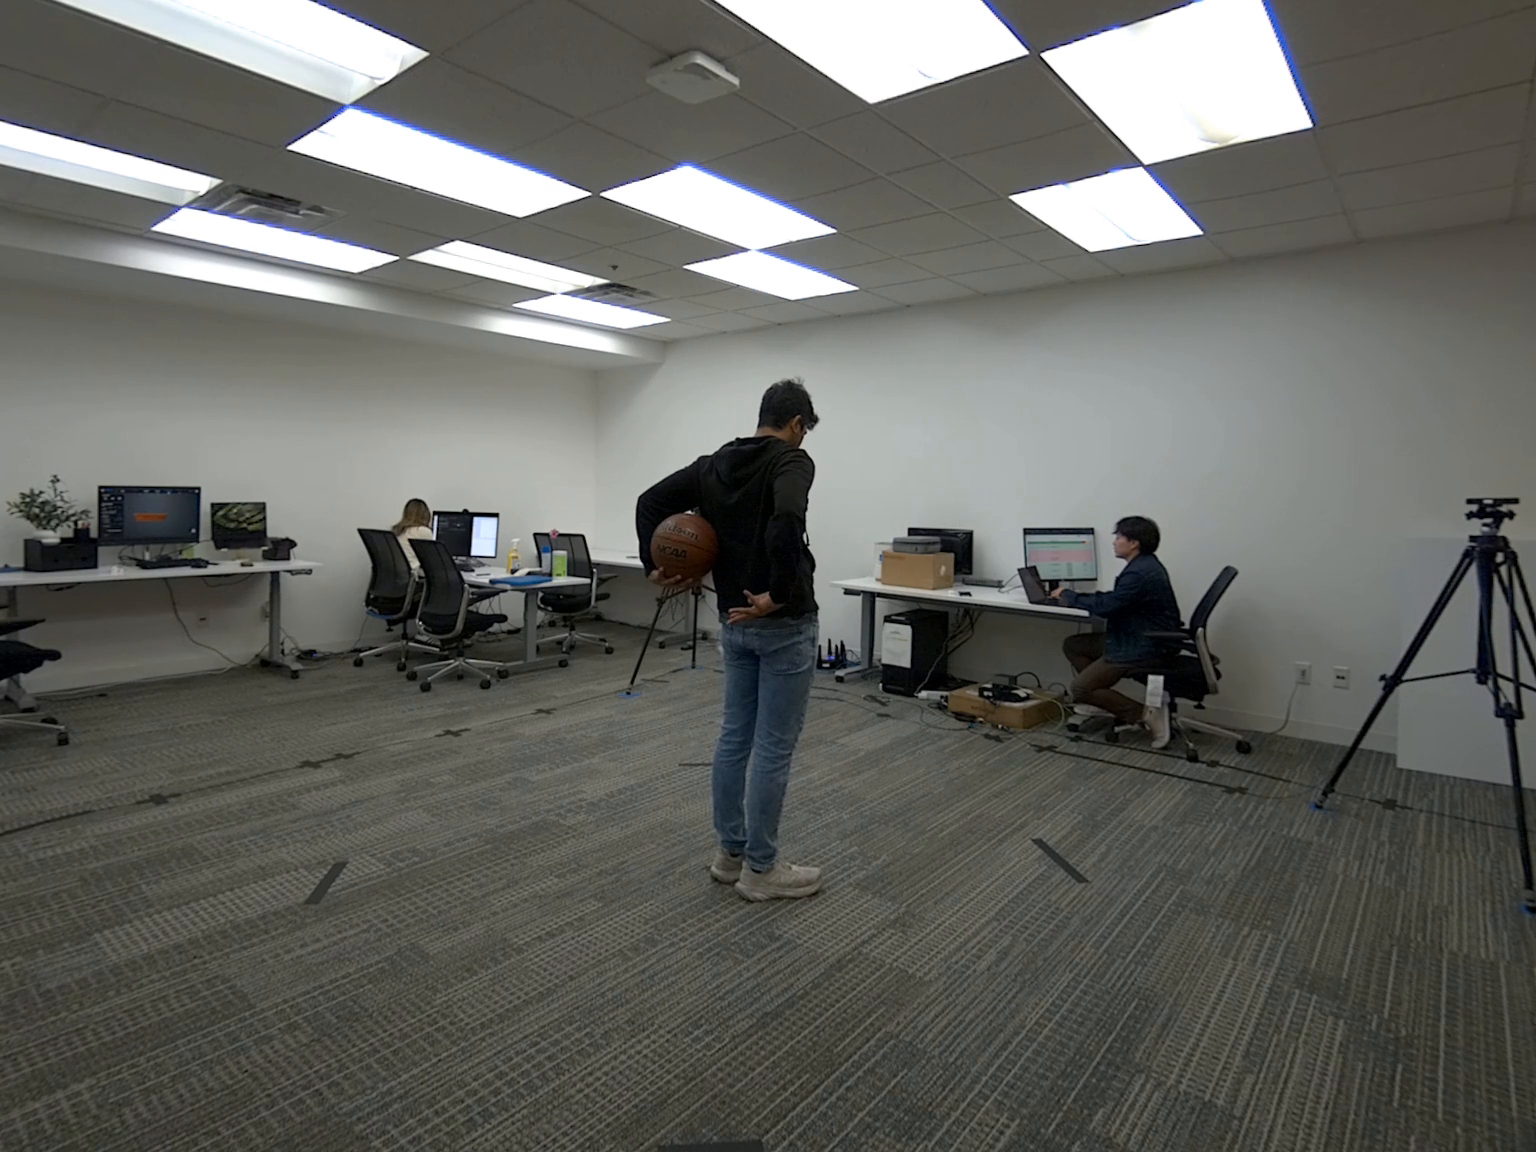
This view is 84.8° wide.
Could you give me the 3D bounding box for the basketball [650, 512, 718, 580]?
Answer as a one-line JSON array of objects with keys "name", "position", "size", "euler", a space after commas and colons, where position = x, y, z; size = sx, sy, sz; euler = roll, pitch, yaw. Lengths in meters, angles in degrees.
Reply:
[{"name": "basketball", "position": [-0.290, -0.097, 2.951], "size": [0.235, 0.235, 0.237], "euler": [1, 4, -2]}]
